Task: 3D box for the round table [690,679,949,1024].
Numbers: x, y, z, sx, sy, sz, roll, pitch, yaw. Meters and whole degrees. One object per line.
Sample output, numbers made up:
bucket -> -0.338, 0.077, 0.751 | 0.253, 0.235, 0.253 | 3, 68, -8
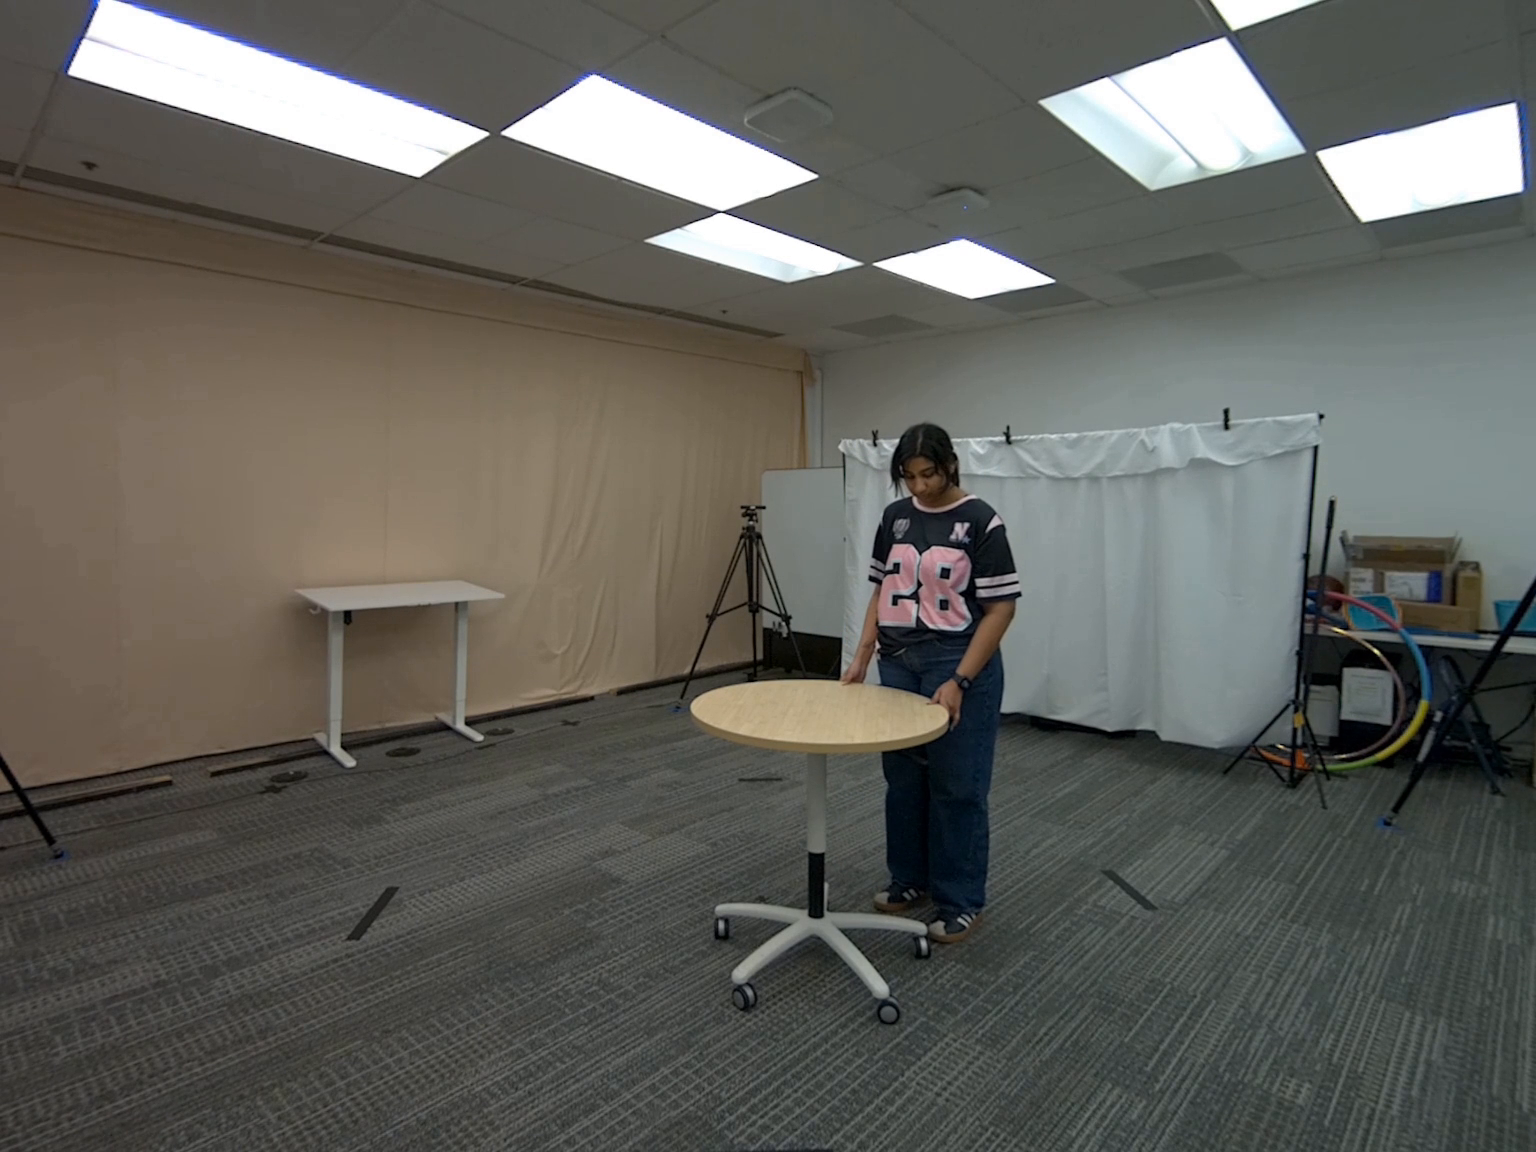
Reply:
round table -> 0.148, 0.790, 2.554 | 0.763, 0.792, 0.767 | 0, 4, -2
